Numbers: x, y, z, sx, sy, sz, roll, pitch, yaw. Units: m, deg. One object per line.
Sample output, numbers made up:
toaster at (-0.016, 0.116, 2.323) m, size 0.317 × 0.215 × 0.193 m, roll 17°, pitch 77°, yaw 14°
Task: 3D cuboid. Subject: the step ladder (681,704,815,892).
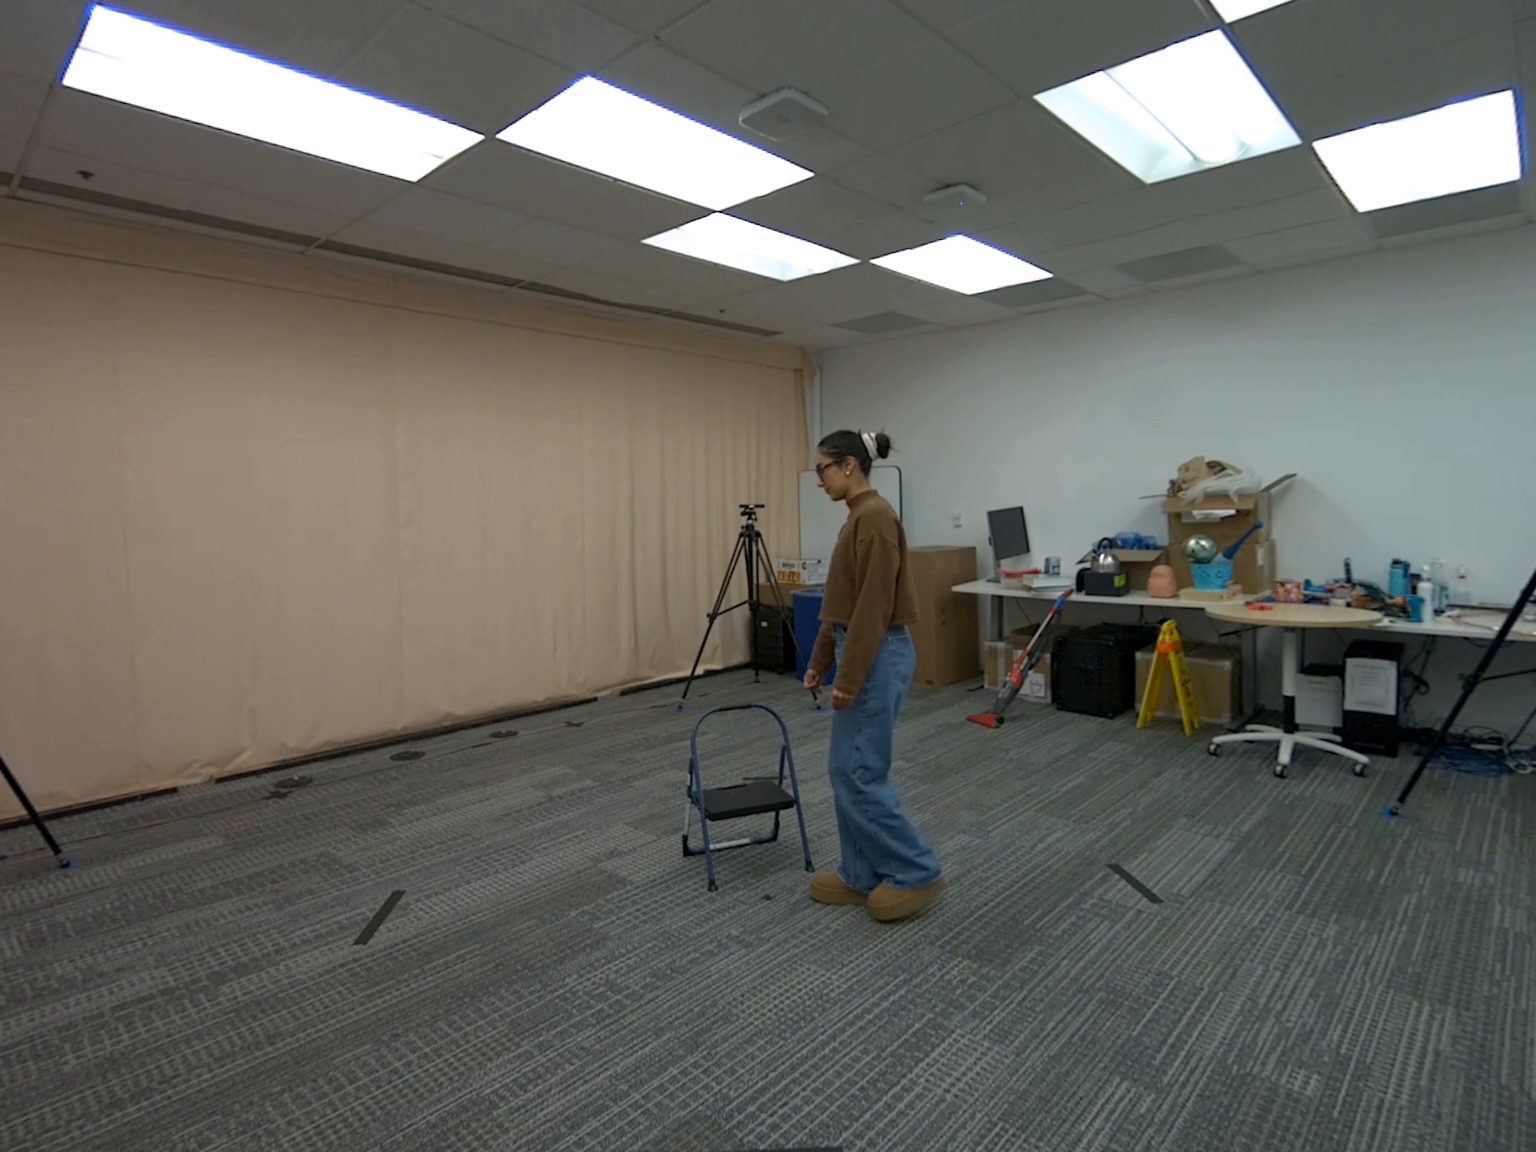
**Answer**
step ladder at (-0.085, 0.816, 3.260) m, size 0.421 × 0.605 × 0.358 m, roll -3°, pitch 4°, yaw -23°
